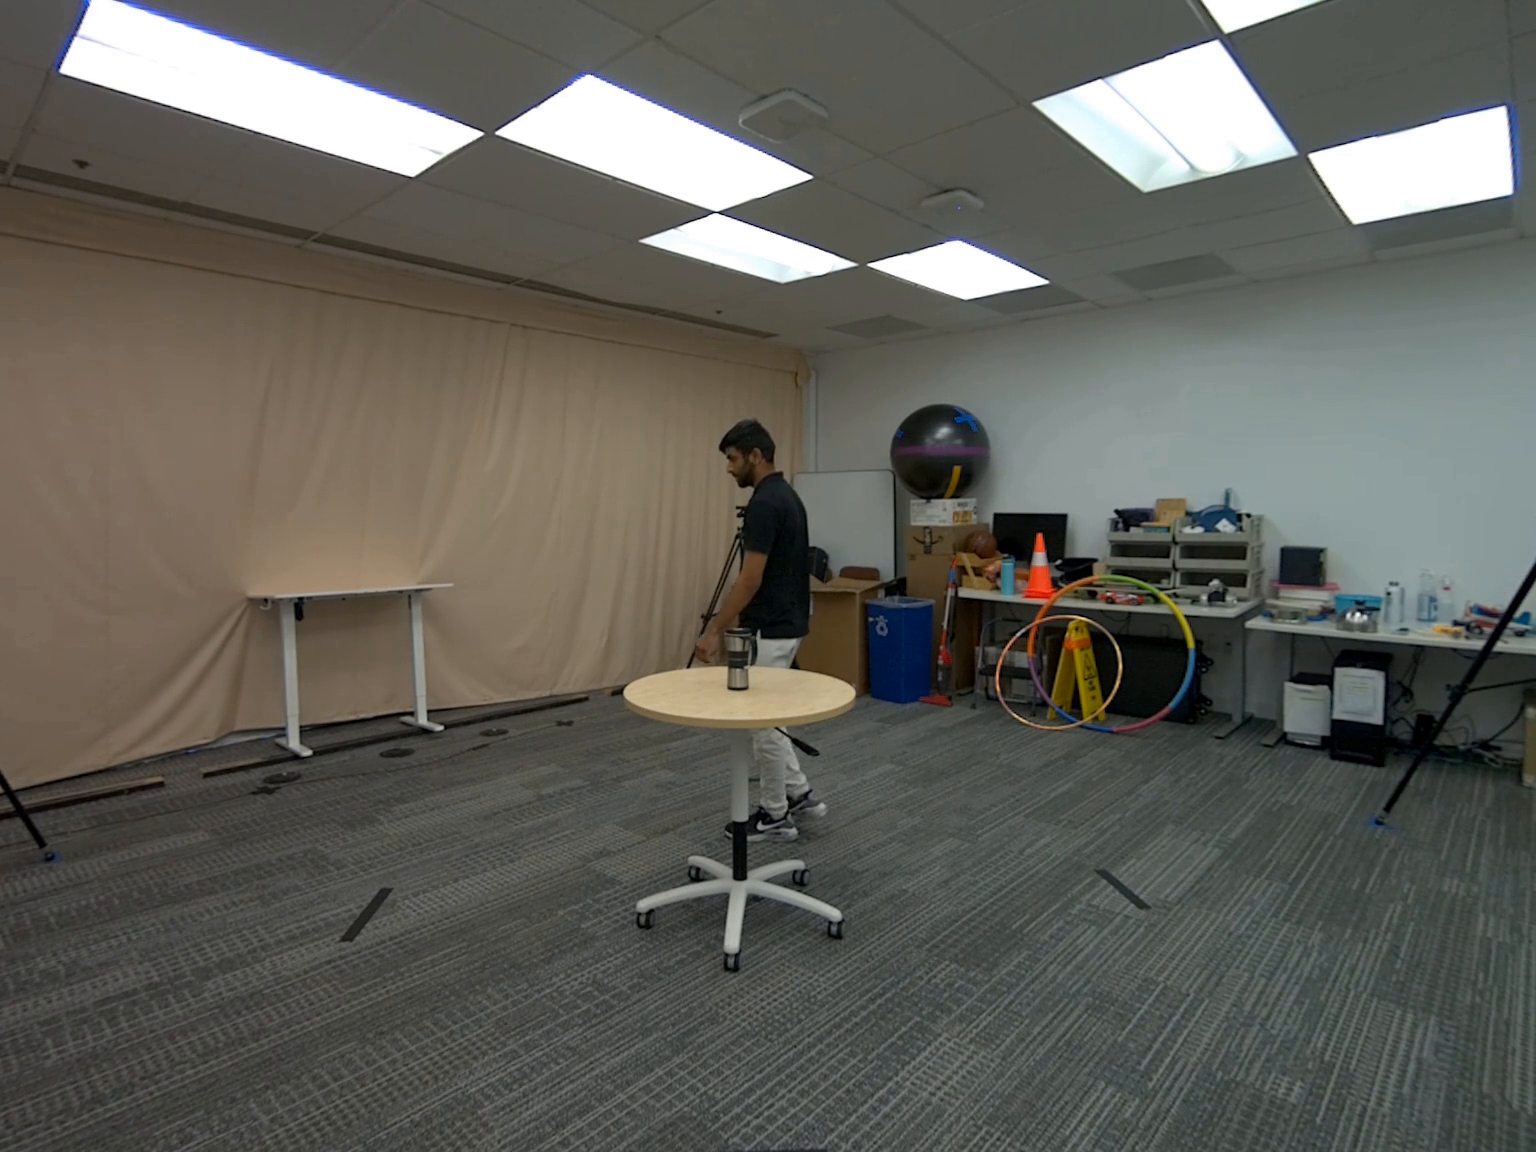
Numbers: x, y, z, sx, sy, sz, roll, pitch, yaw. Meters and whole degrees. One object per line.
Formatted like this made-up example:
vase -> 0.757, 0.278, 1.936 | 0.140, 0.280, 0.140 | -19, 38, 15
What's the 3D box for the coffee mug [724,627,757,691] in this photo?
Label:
coffee mug -> -0.088, 0.277, 2.784 | 0.086, 0.203, 0.125 | 1, 0, -27
